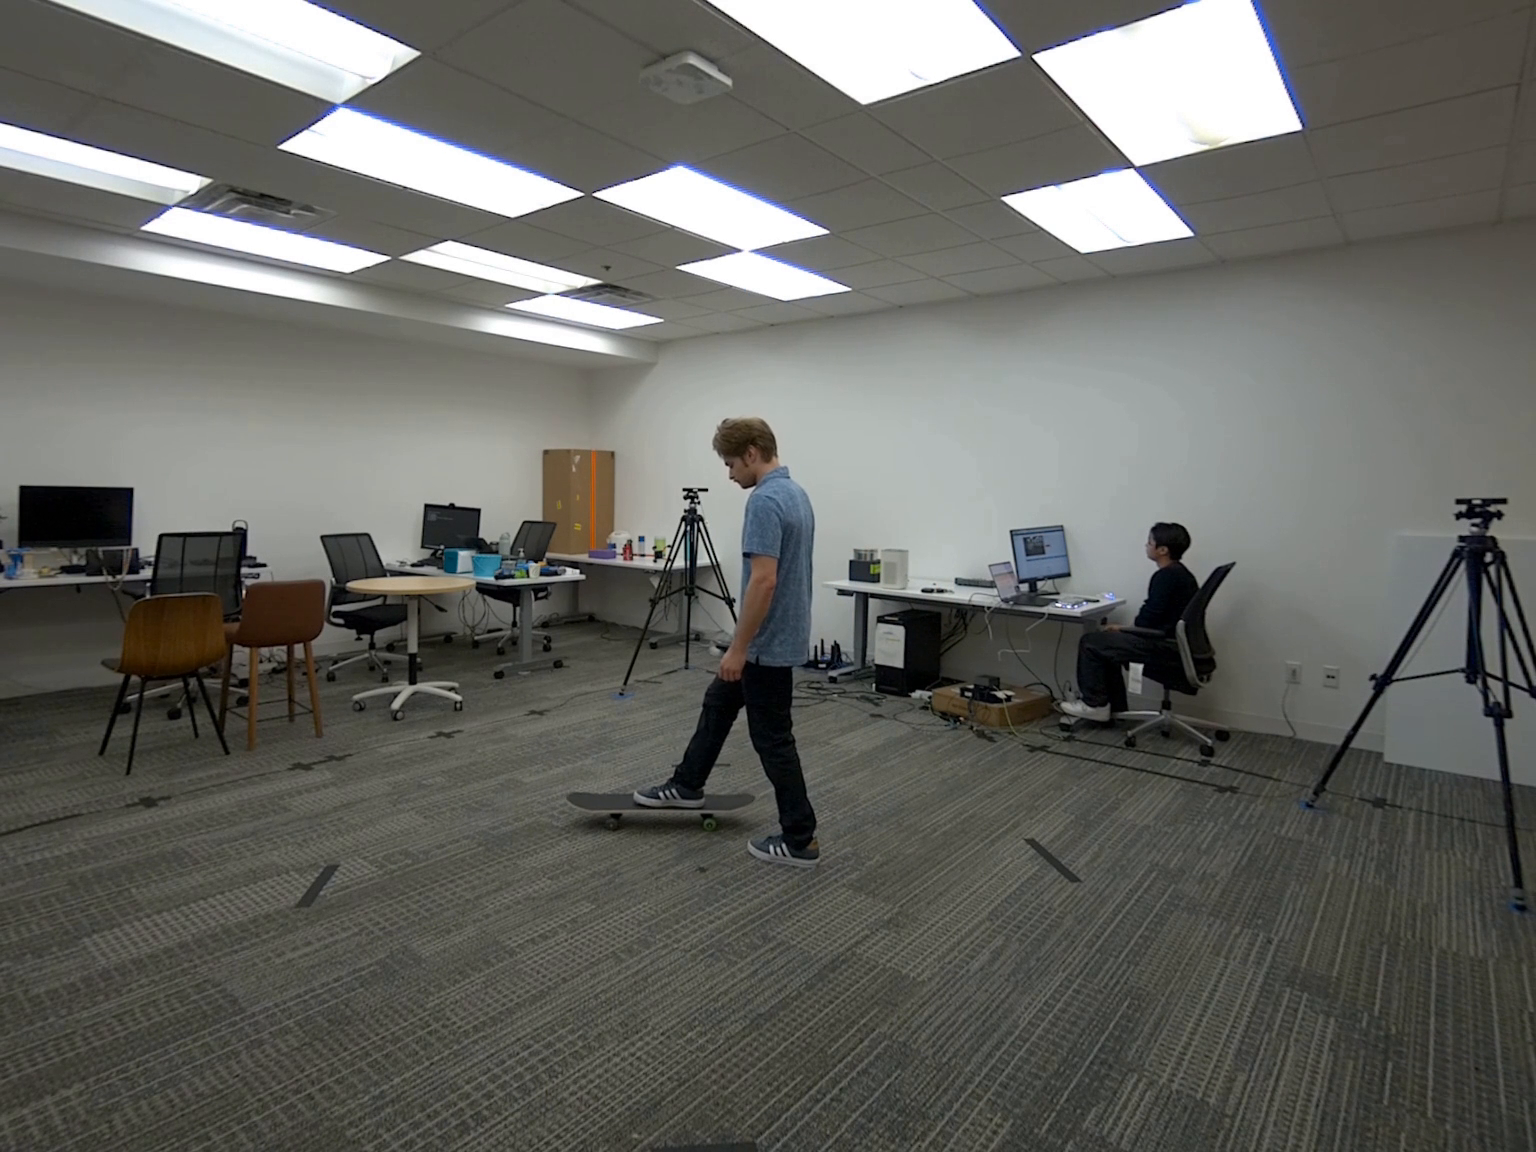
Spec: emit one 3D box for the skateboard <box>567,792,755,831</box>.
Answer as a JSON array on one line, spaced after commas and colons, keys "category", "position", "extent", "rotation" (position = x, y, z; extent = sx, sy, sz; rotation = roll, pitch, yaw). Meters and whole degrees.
[{"category": "skateboard", "position": [-0.447, 0.966, 3.531], "extent": [0.783, 0.110, 0.195], "rotation": [0, 7, -2]}]
